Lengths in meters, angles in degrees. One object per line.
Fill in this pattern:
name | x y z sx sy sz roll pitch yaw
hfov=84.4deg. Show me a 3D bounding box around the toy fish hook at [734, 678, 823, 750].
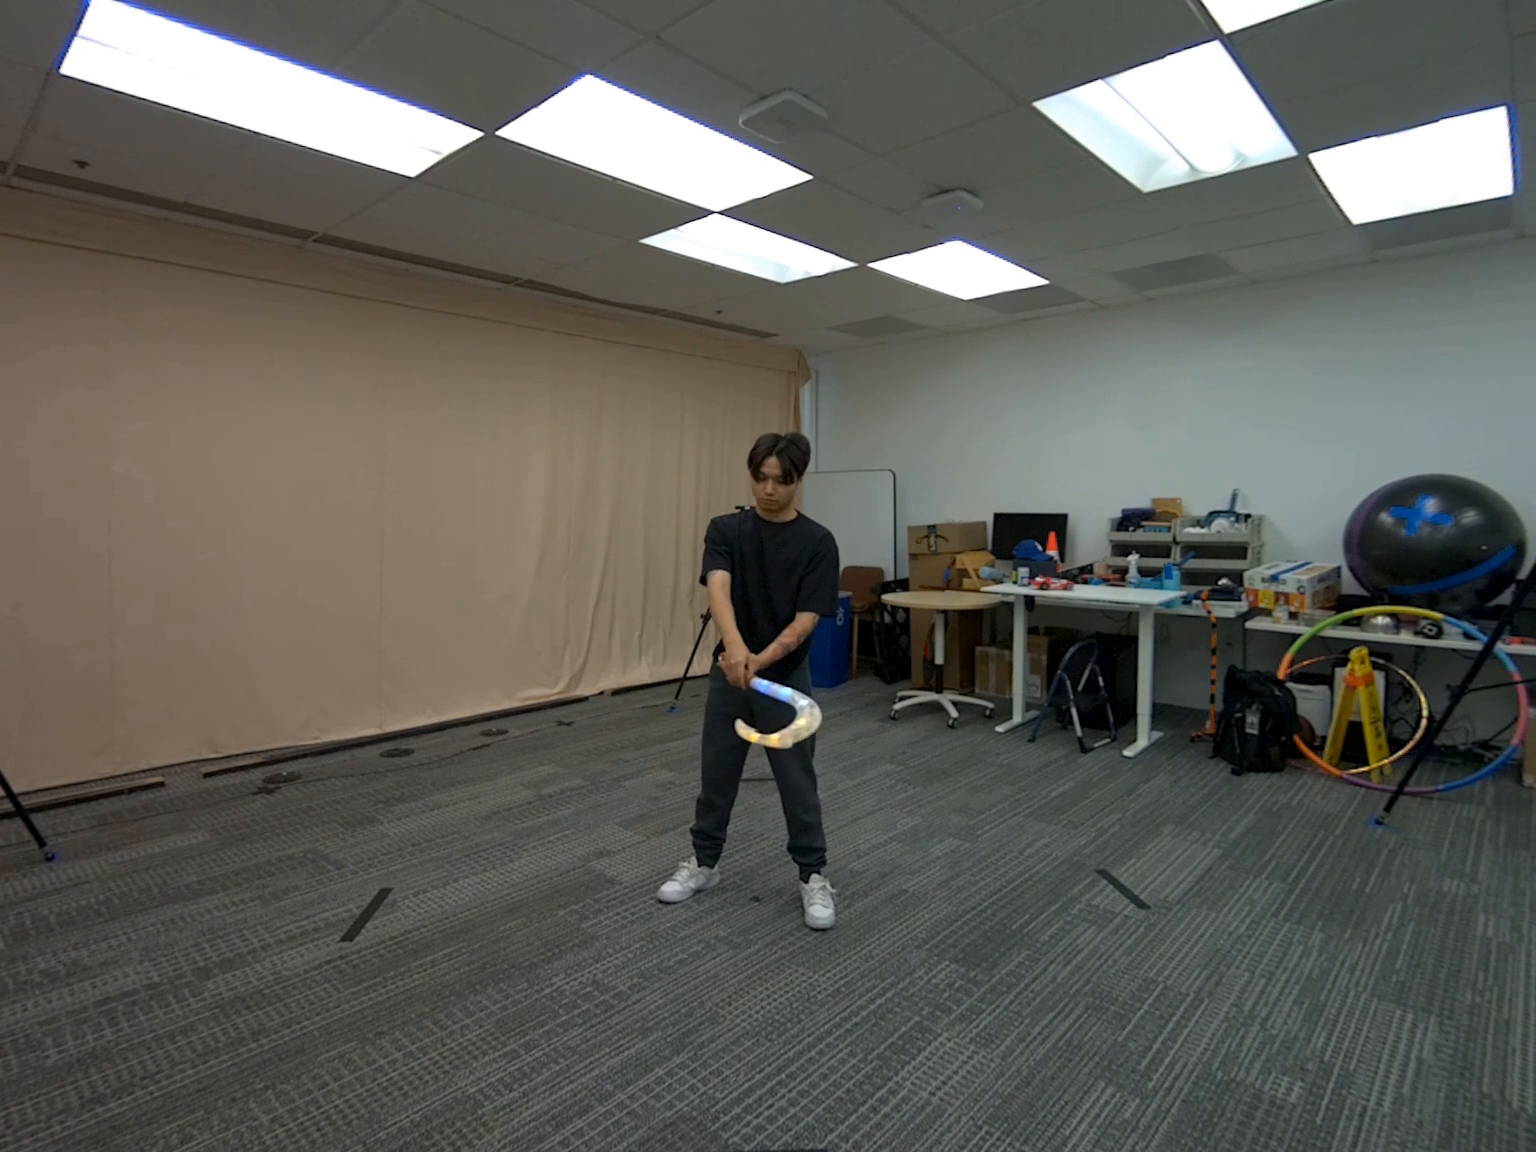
toy fish hook | -0.047 0.352 2.453 0.221 0.047 0.524 -24 28 -25
